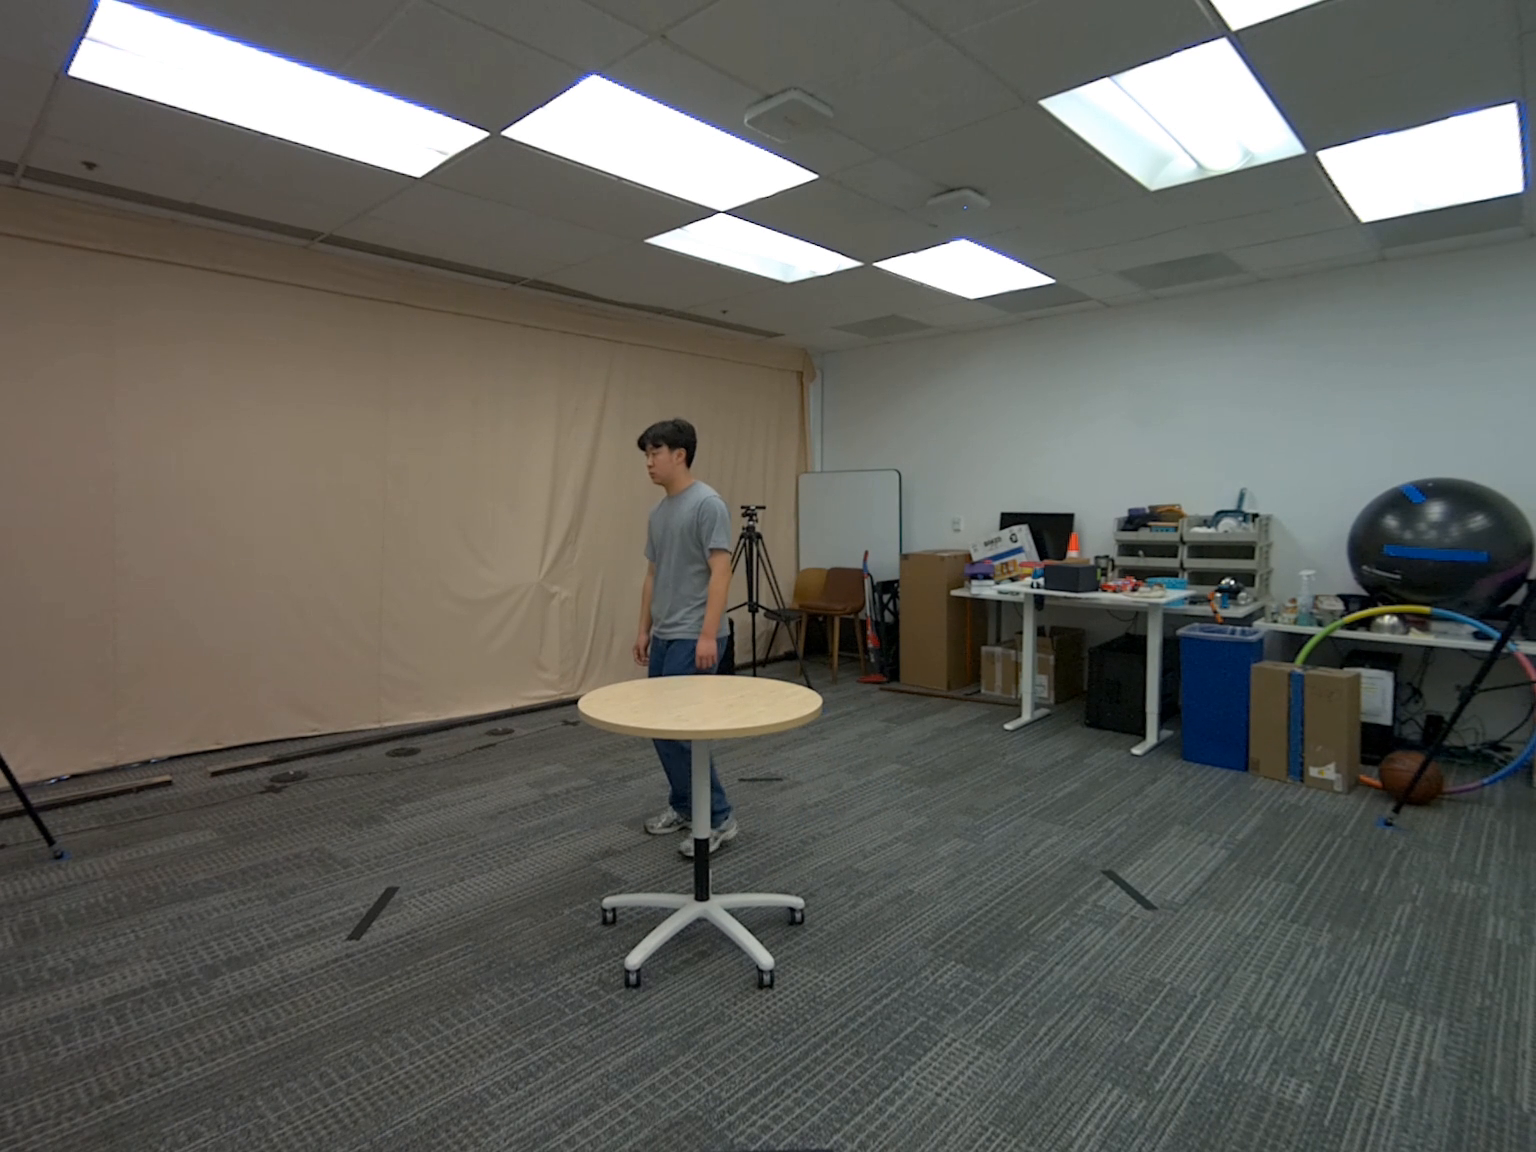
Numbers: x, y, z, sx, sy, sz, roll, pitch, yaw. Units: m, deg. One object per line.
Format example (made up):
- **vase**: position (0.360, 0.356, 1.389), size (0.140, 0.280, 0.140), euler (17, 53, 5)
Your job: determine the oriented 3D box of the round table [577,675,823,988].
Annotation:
- **round table**: position (-0.206, 0.780, 2.679), size (0.763, 0.792, 0.767), euler (-1, 4, -2)
